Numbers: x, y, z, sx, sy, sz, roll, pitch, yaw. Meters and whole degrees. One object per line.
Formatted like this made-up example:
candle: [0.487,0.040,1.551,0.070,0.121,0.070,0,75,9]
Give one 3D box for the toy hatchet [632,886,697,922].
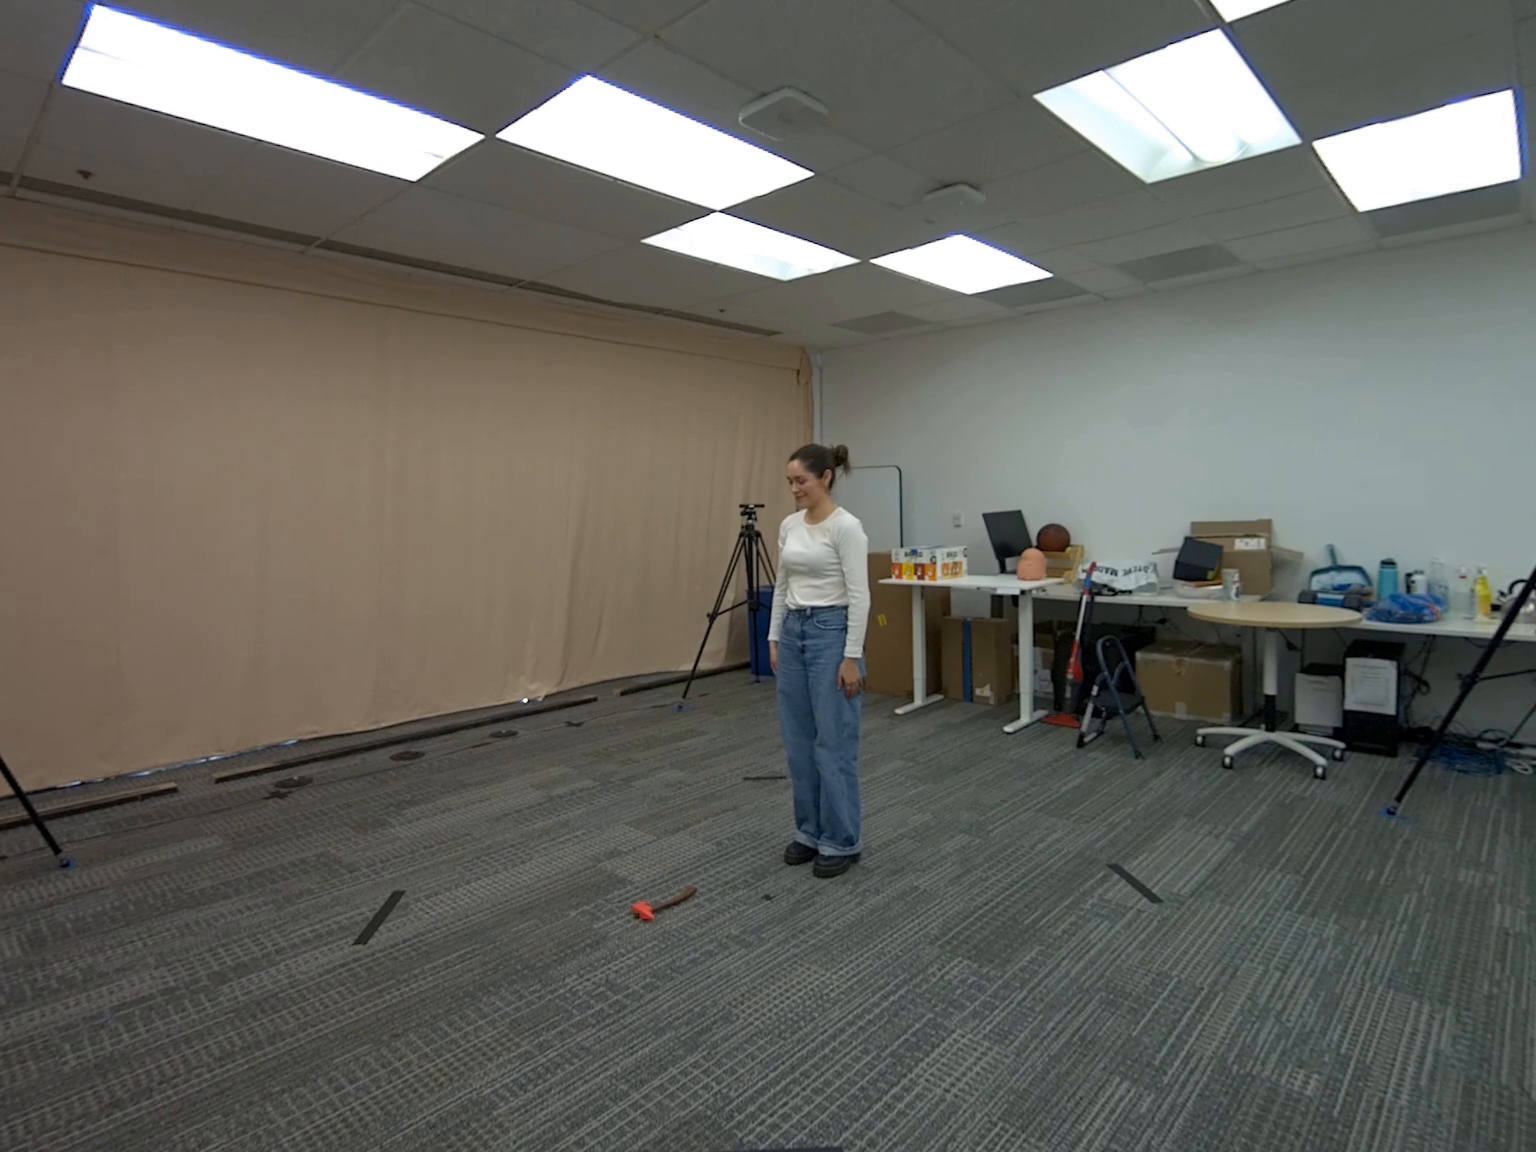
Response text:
toy hatchet: [-0.376,1.139,2.954,0.135,0.029,0.262,-2,2,32]
